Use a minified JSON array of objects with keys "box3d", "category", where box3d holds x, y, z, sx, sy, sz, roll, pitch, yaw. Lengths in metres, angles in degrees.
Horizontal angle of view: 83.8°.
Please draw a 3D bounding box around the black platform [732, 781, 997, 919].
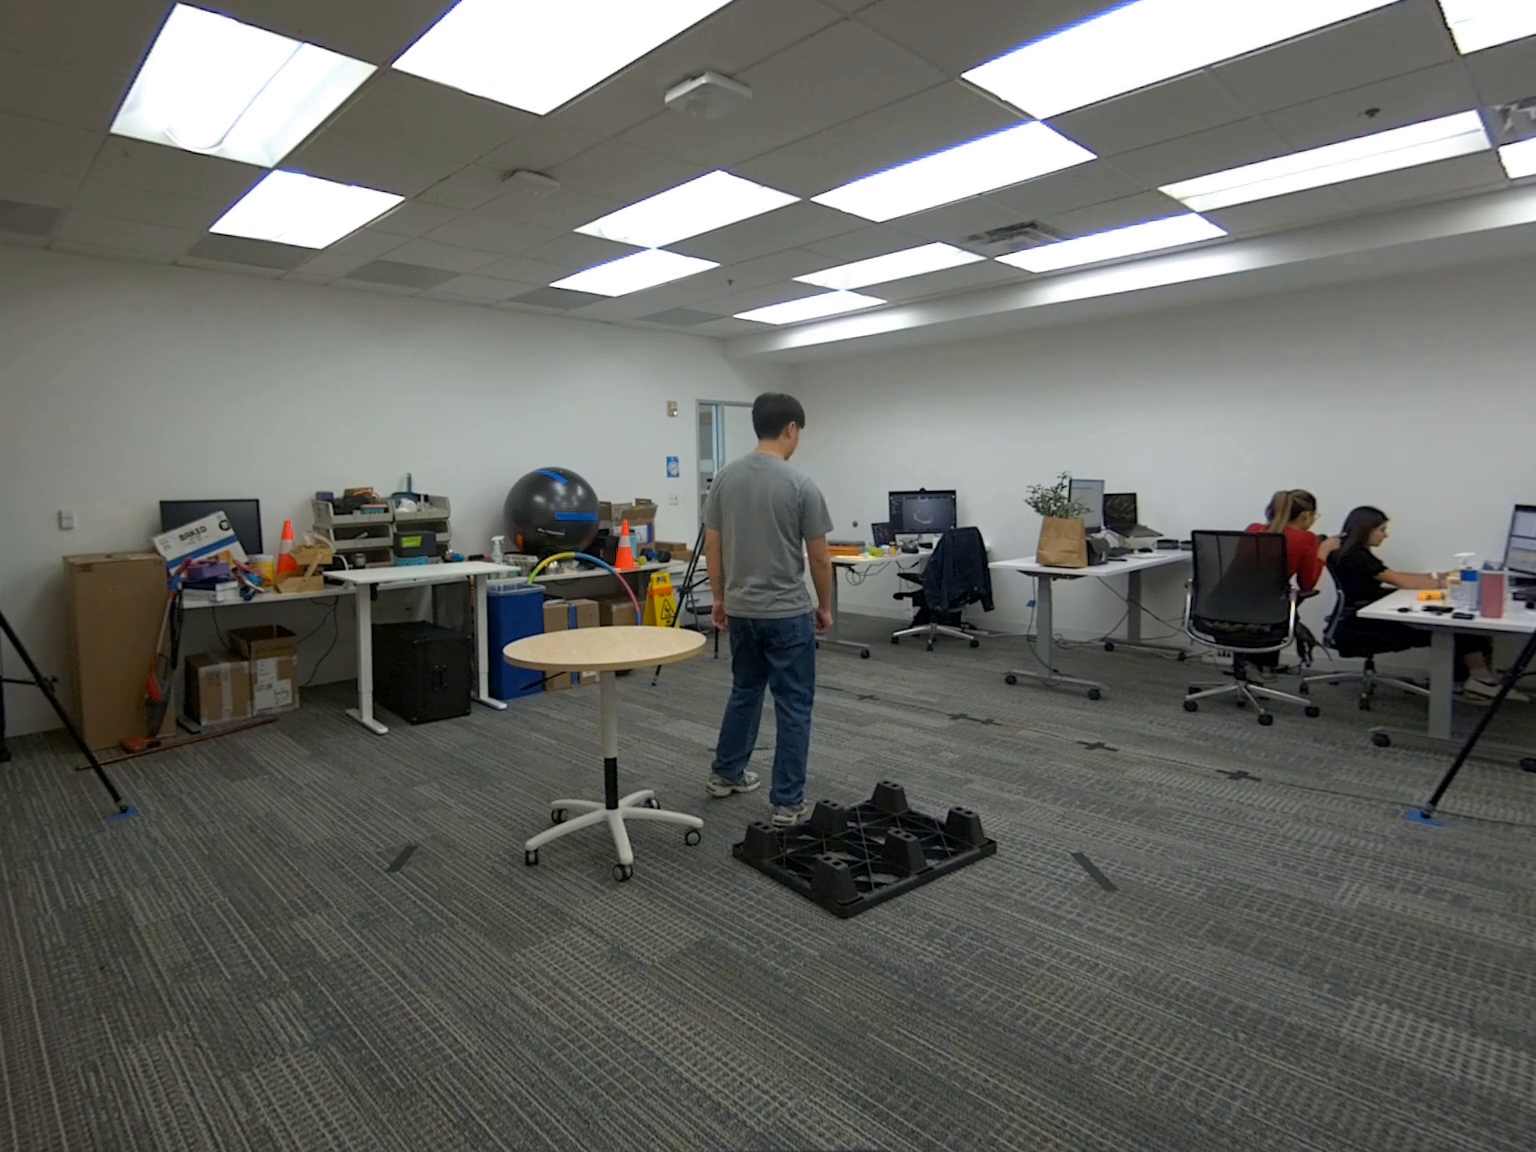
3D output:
[{"box3d":[0.361,0.969,3.166,0.785,0.142,0.624,-5,8,-38],"category":"black platform"}]
